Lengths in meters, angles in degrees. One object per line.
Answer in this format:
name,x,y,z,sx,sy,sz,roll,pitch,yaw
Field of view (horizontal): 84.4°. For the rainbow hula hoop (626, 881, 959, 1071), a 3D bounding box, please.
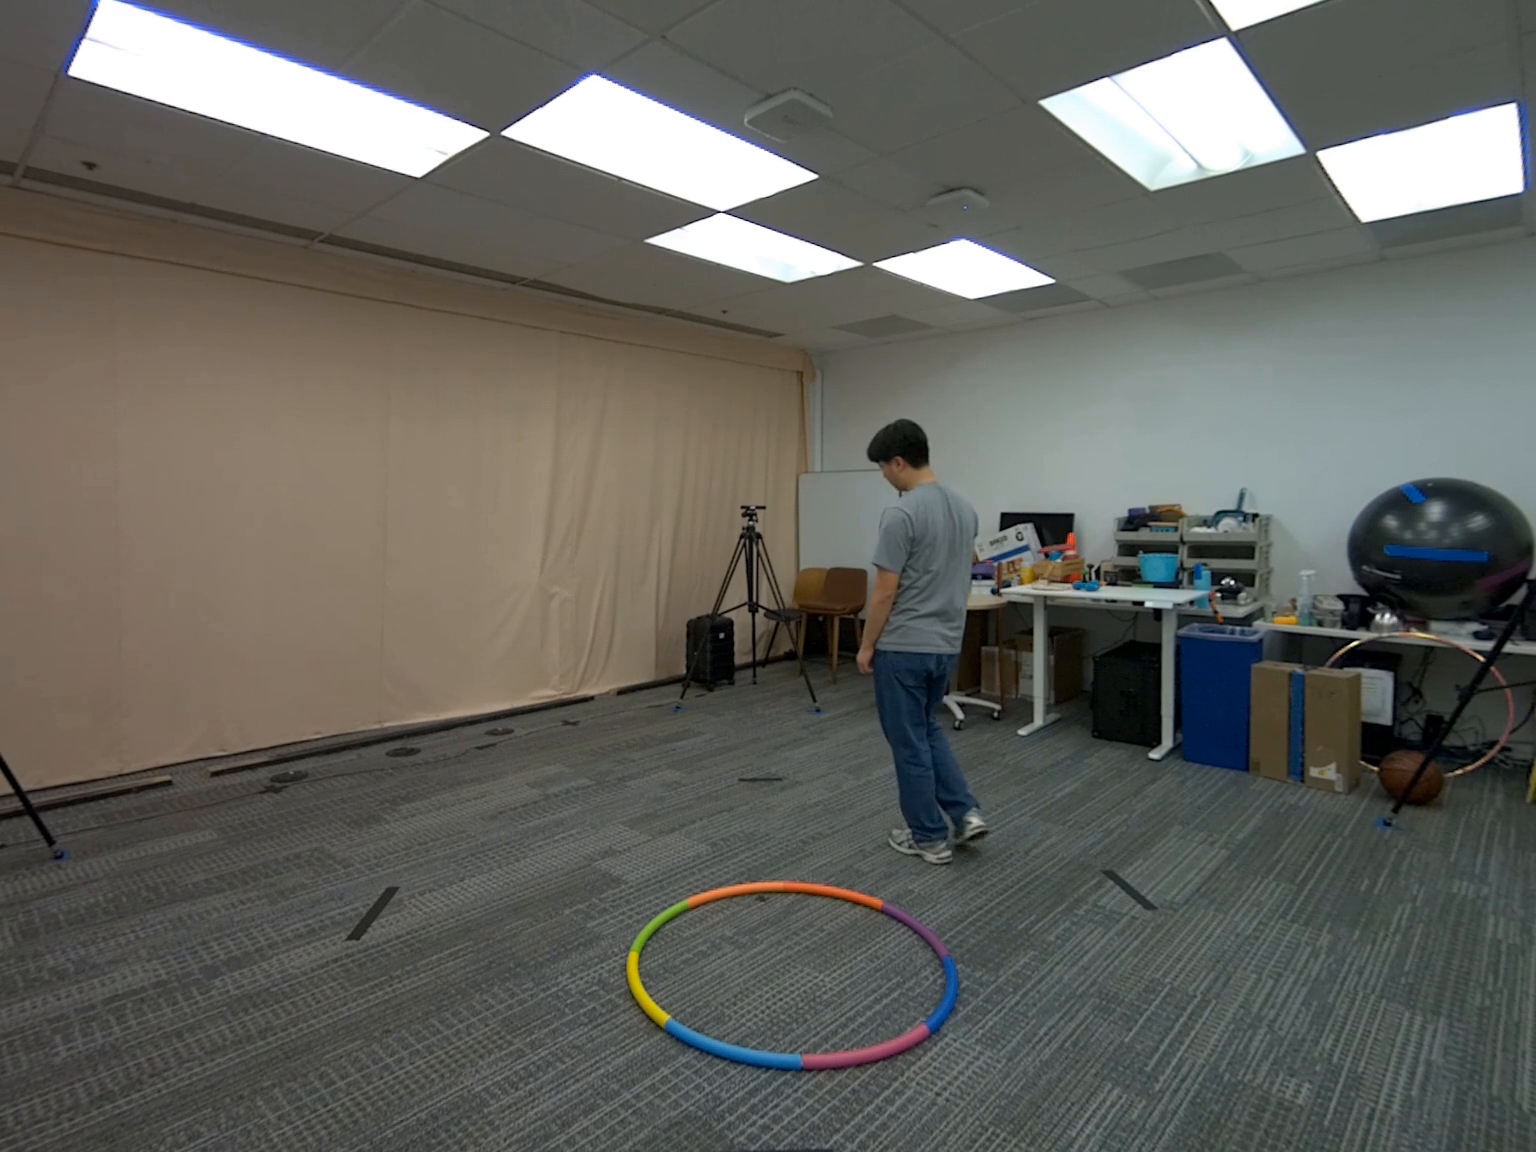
rainbow hula hoop,0.070,1.146,2.562,0.978,0.035,0.982,0,4,-2
